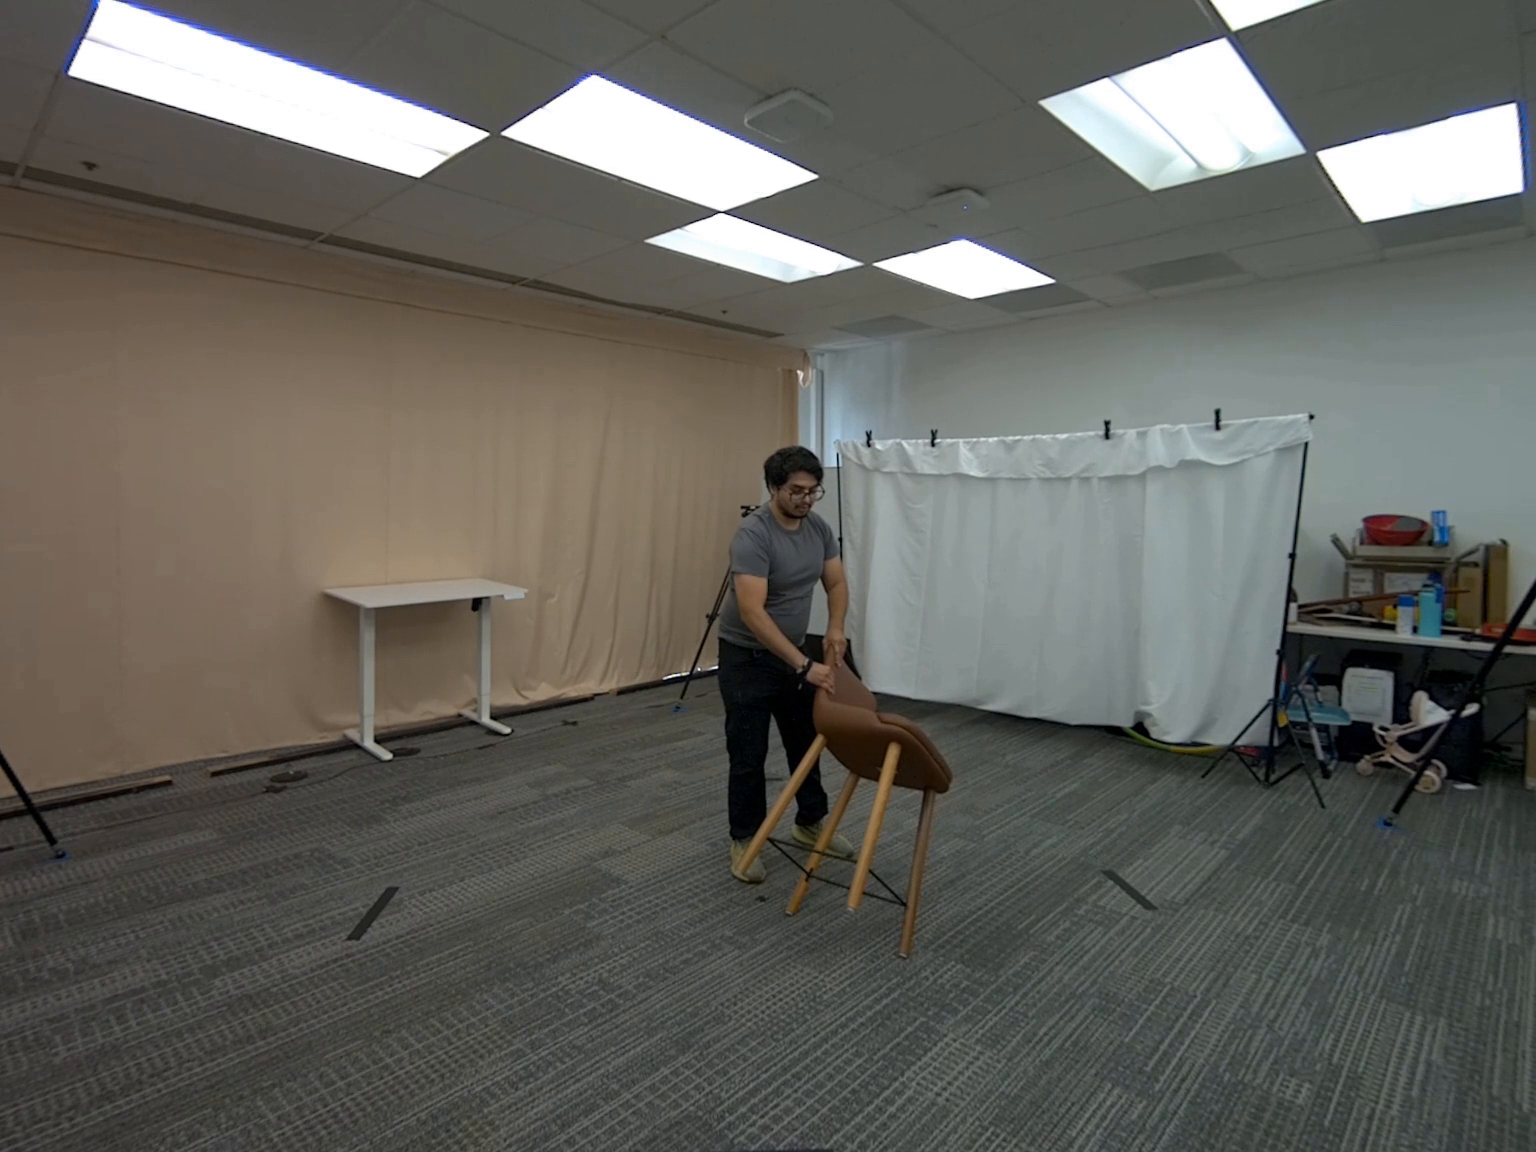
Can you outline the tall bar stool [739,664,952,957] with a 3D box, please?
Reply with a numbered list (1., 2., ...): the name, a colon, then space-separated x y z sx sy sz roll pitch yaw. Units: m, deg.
1. tall bar stool: 0.327 0.705 2.824 0.482 0.893 0.441 -3 -38 38
